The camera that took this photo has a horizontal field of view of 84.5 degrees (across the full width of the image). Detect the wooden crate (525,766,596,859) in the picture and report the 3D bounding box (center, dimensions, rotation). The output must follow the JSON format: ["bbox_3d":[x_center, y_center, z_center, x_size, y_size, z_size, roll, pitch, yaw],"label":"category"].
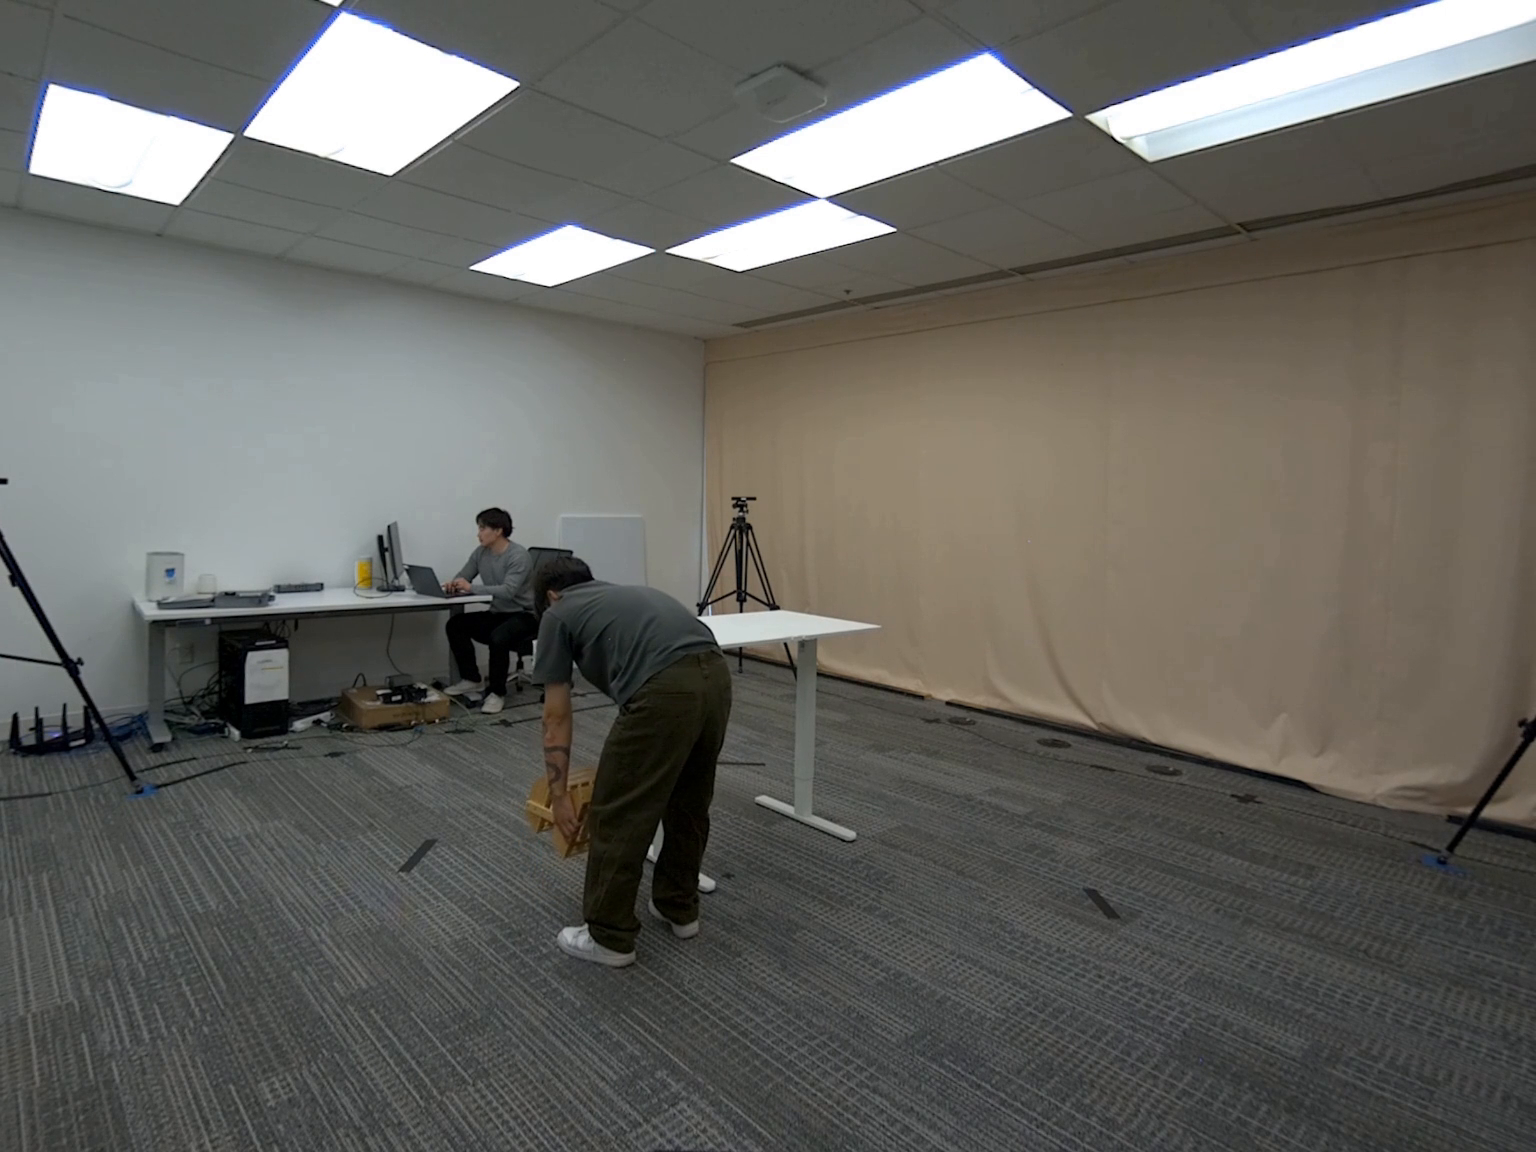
[{"bbox_3d":[-0.601,0.733,2.808,0.317,0.299,0.282,-1,30,-44],"label":"wooden crate"}]
